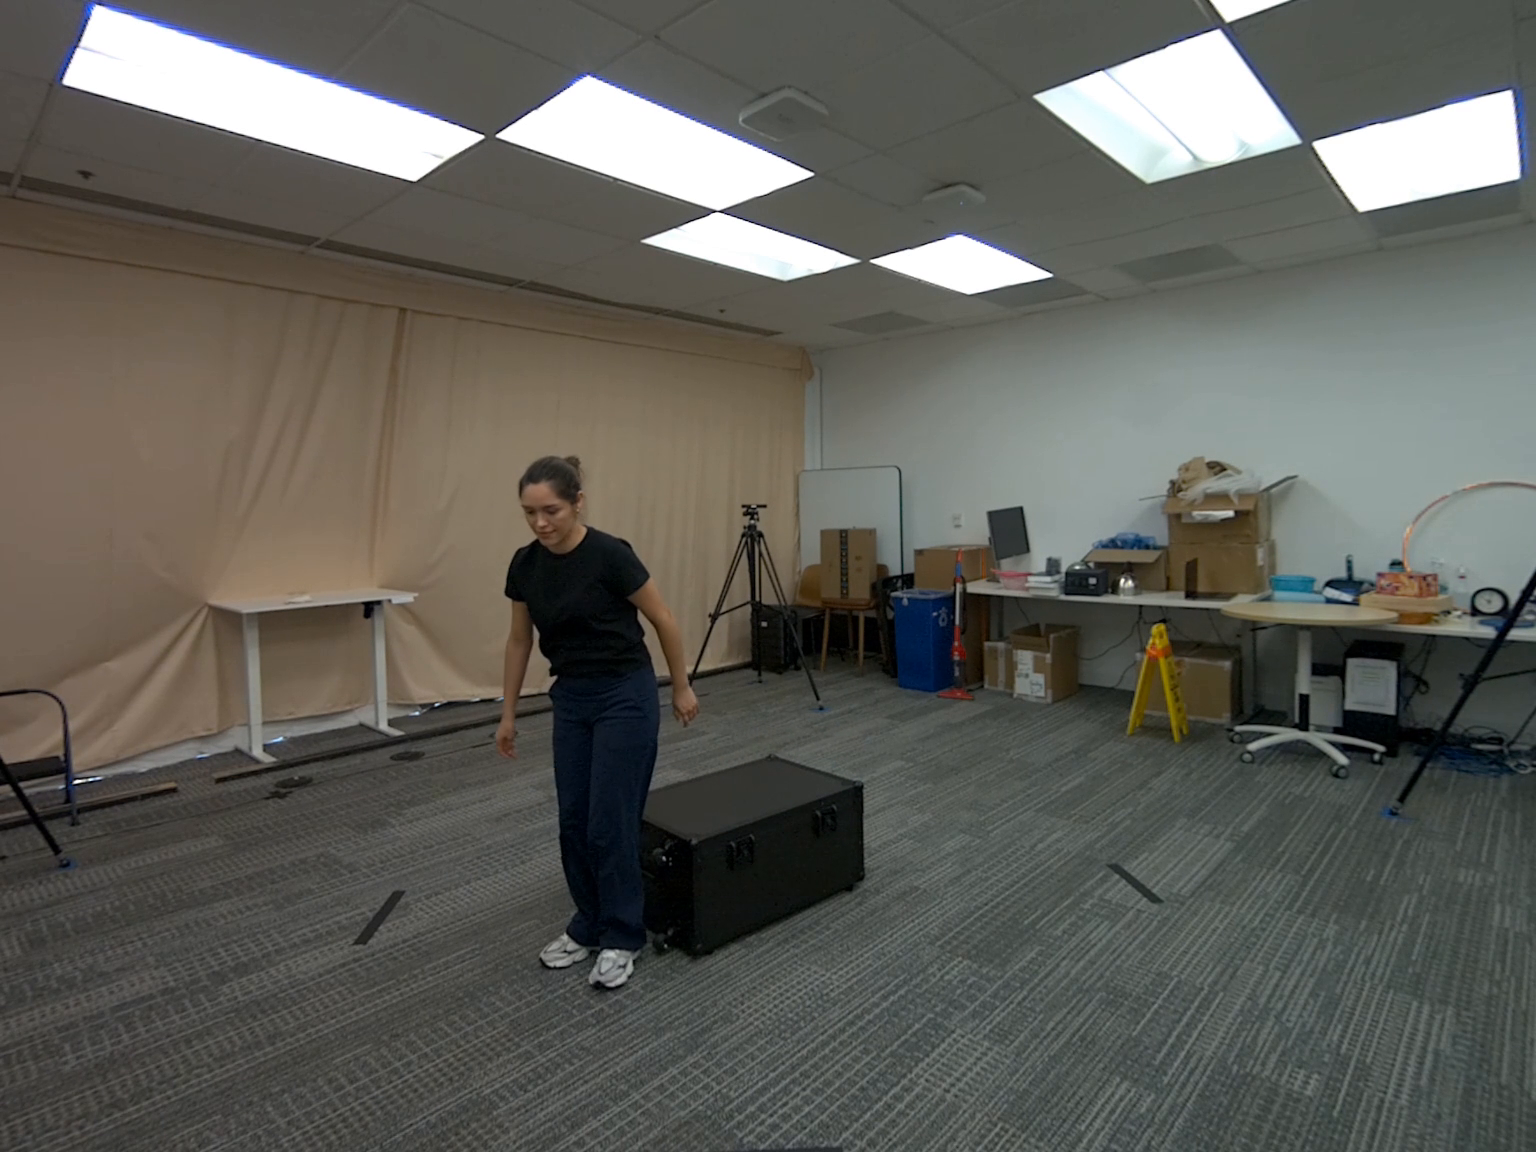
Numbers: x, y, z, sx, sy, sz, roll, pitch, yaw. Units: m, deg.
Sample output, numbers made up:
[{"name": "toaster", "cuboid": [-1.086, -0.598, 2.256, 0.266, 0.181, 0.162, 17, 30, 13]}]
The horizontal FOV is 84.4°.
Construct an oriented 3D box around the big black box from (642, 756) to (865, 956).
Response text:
[{"name": "big black box", "cuboid": [-0.064, 0.950, 2.999, 0.836, 0.395, 0.538, -7, 7, -41]}]
